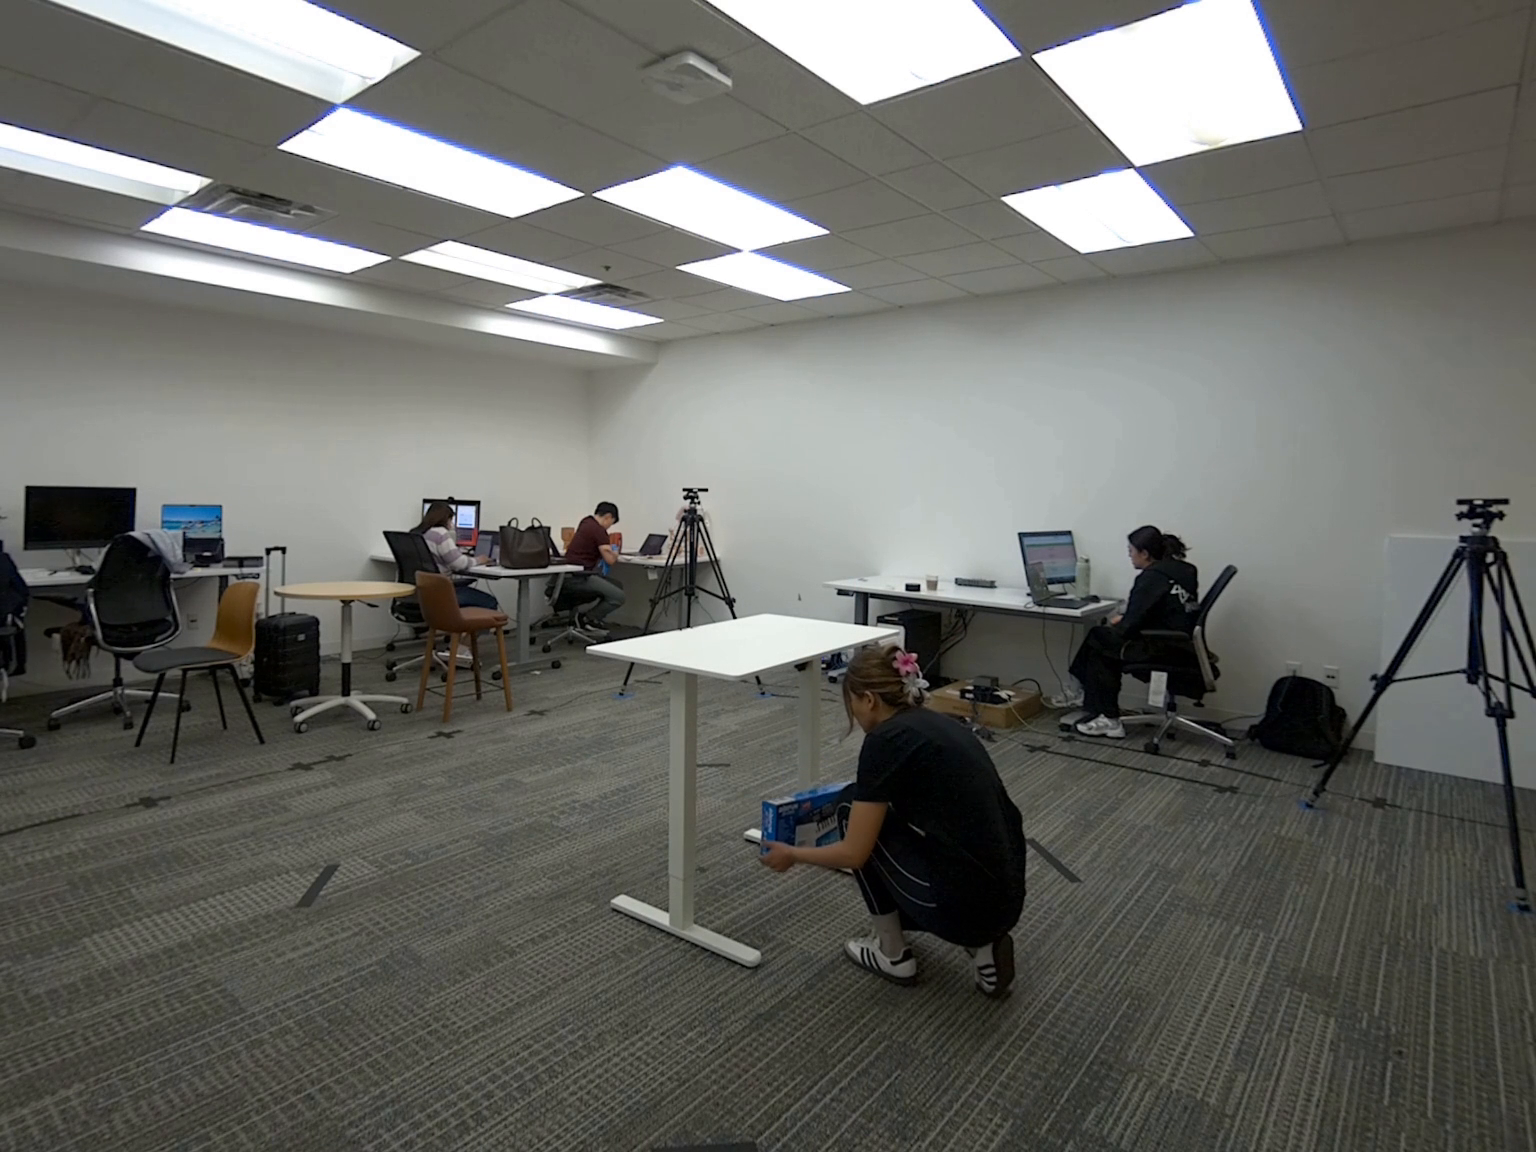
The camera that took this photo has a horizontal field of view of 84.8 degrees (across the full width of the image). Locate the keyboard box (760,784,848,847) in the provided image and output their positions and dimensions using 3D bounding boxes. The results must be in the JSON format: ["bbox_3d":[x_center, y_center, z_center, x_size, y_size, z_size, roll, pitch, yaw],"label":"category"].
[{"bbox_3d":[0.154,0.782,2.730,0.061,0.176,0.422,1,-1,45],"label":"keyboard box"}]
